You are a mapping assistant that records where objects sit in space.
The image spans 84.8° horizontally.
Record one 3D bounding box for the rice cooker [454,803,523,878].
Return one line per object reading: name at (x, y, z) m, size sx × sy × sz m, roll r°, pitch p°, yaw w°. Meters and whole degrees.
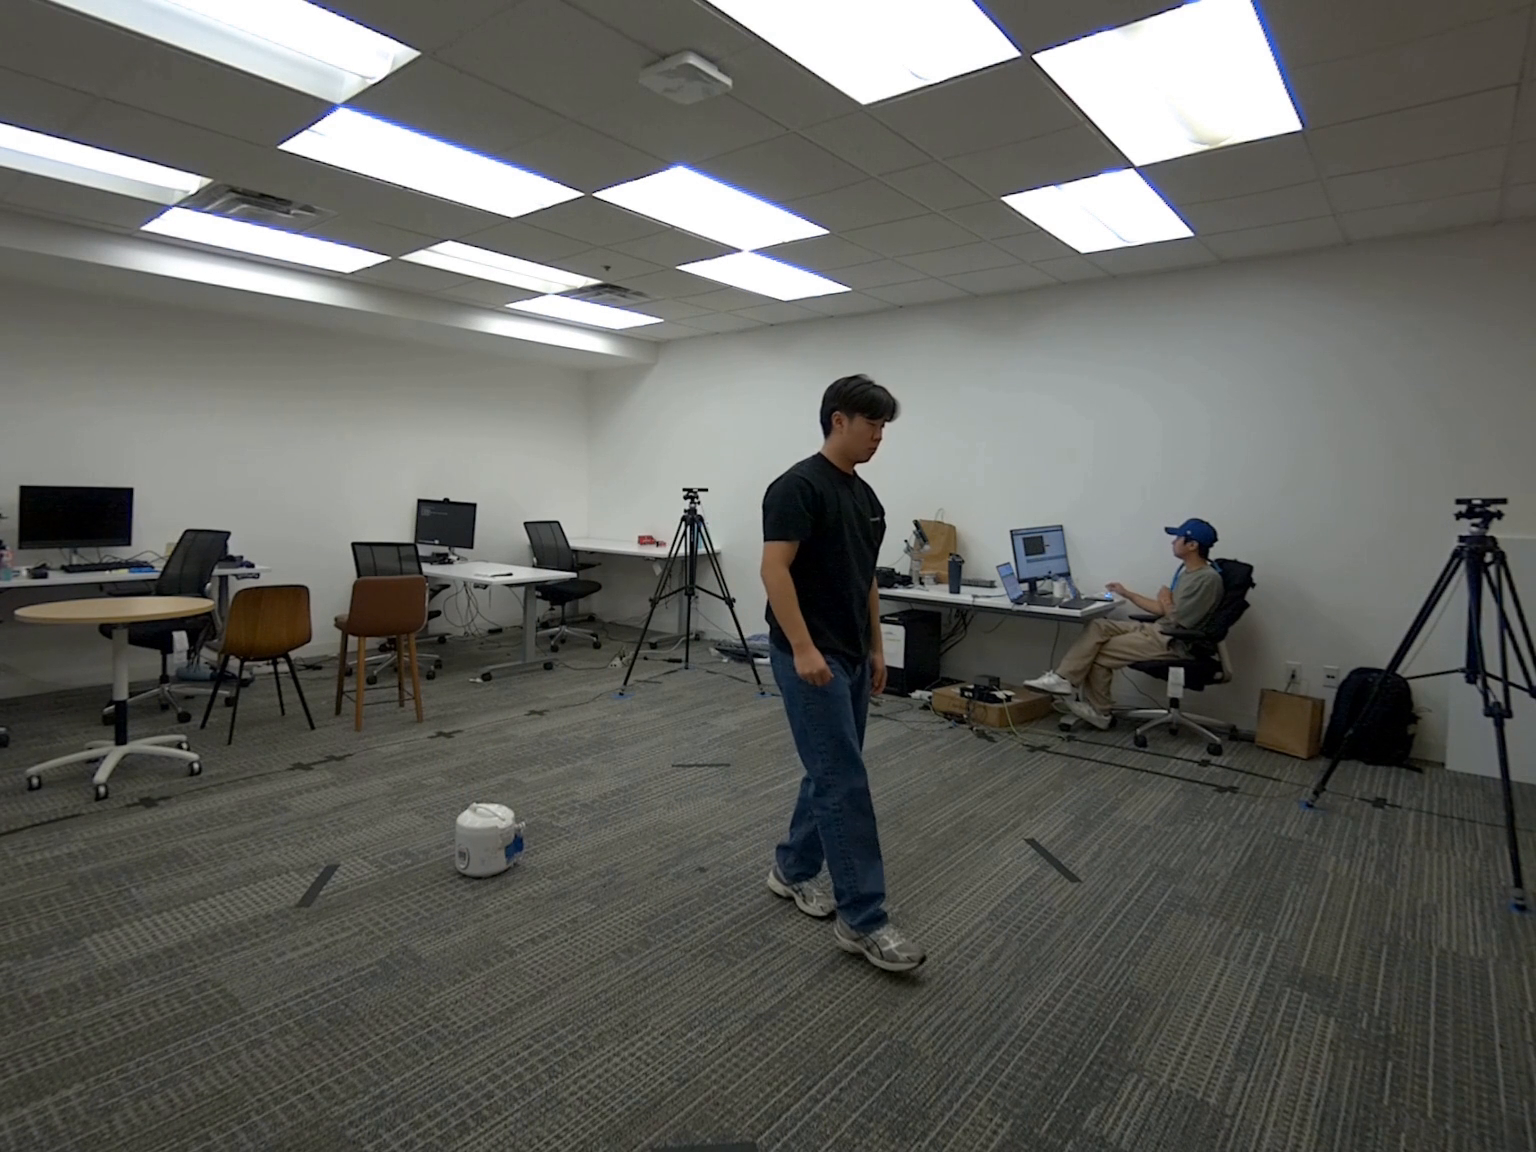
rice cooker at (-1.033, 0.942, 3.083) m, size 0.227 × 0.232 × 0.212 m, roll 2°, pitch 4°, yaw 30°
